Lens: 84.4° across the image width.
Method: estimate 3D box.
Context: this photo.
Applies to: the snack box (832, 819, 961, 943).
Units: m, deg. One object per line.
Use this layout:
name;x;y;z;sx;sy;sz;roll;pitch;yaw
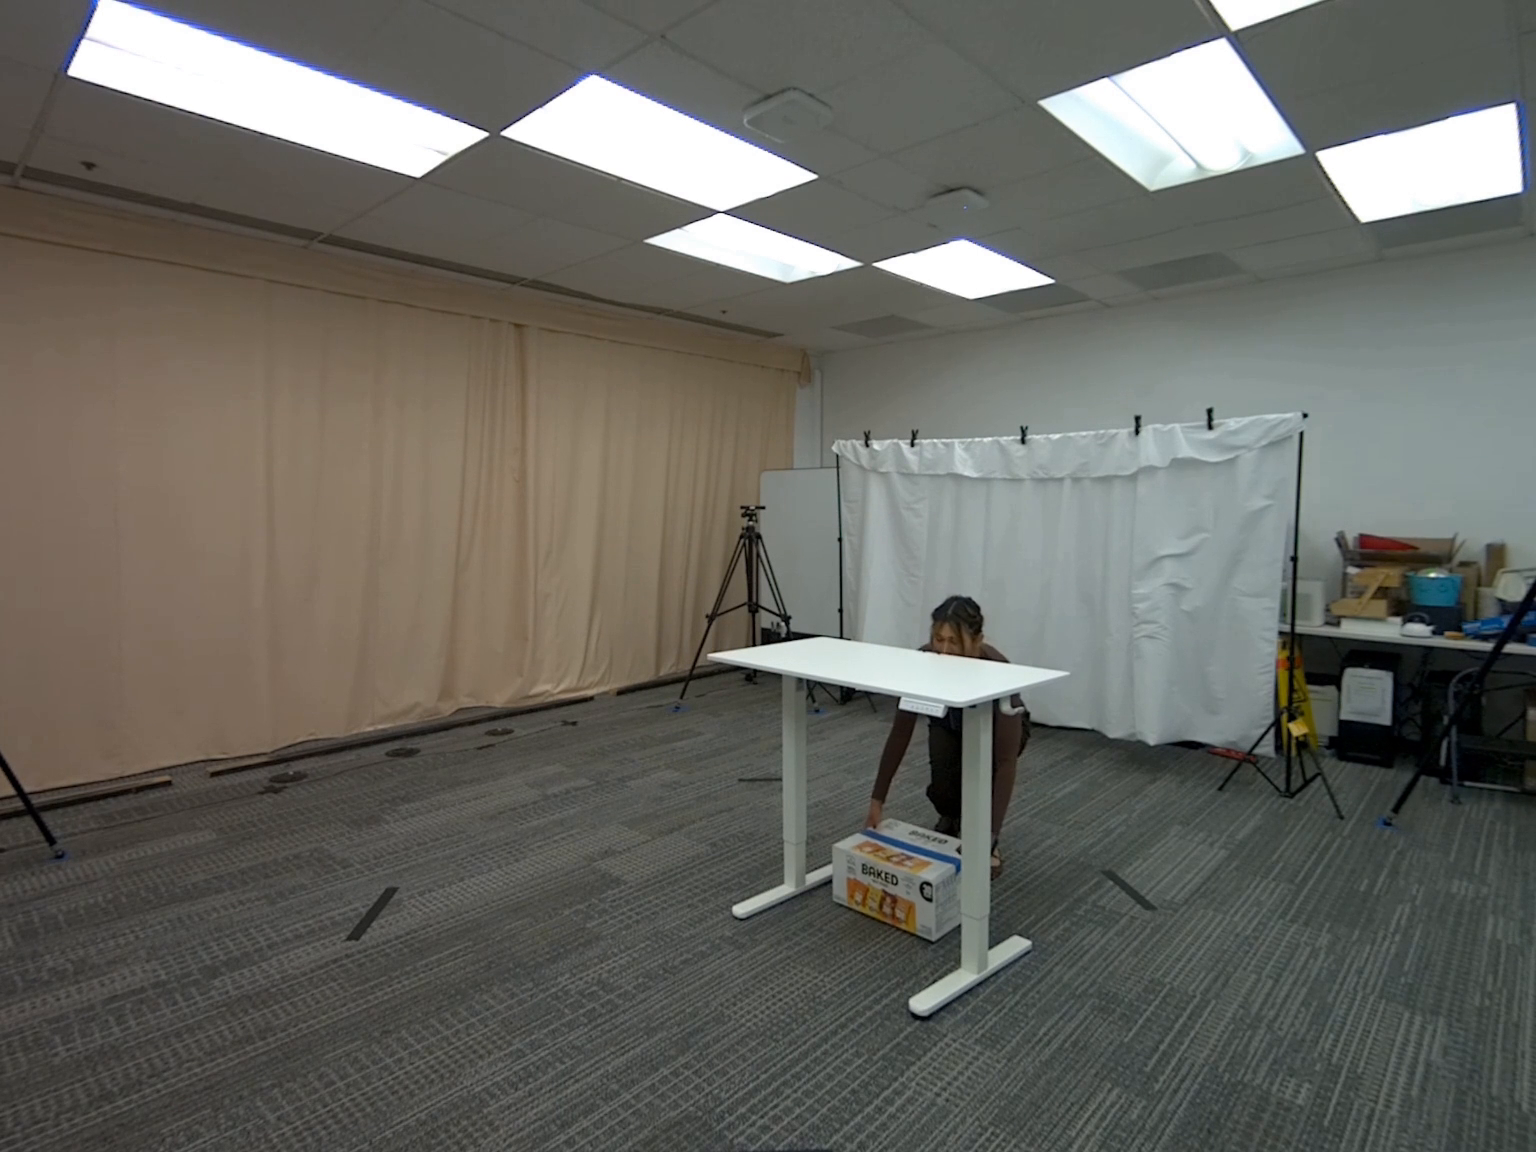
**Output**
snack box;0.500;1.023;2.903;0.418;0.205;0.330;3;7;44
